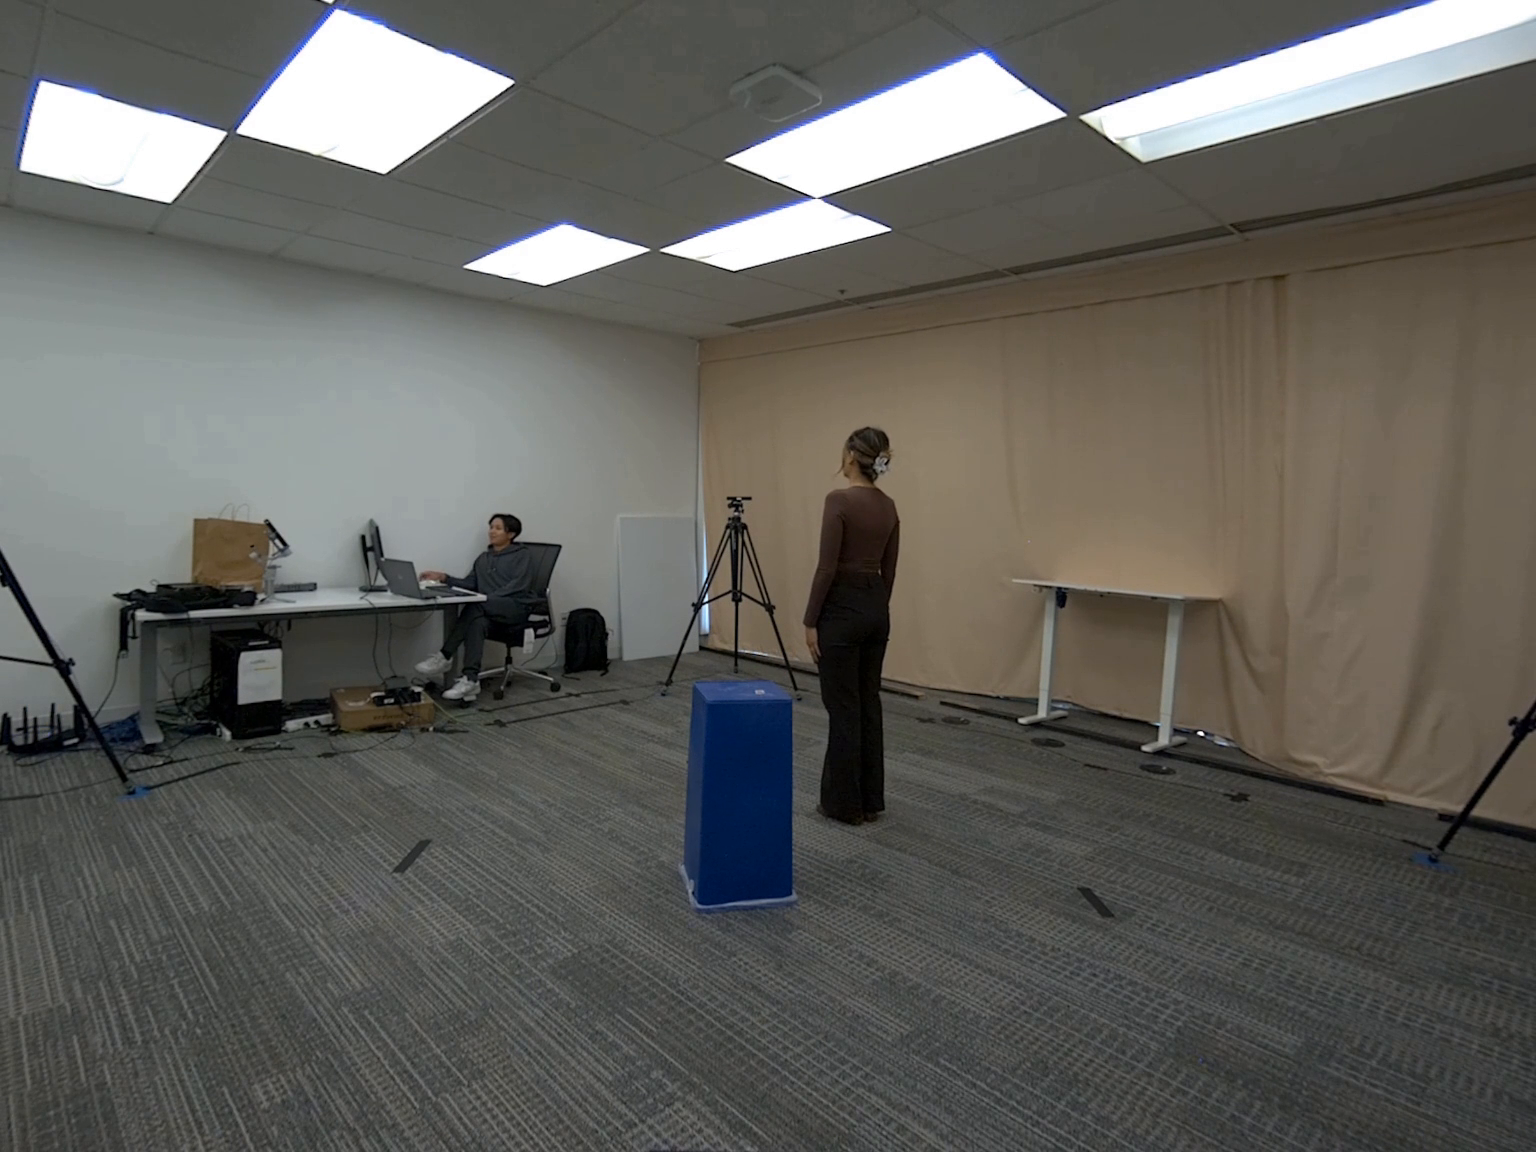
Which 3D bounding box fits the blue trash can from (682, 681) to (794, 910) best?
[{"bbox_3d":[-0.106,0.762,3.006,0.370,0.712,0.383,2,3,-14],"label":"blue trash can"}]
